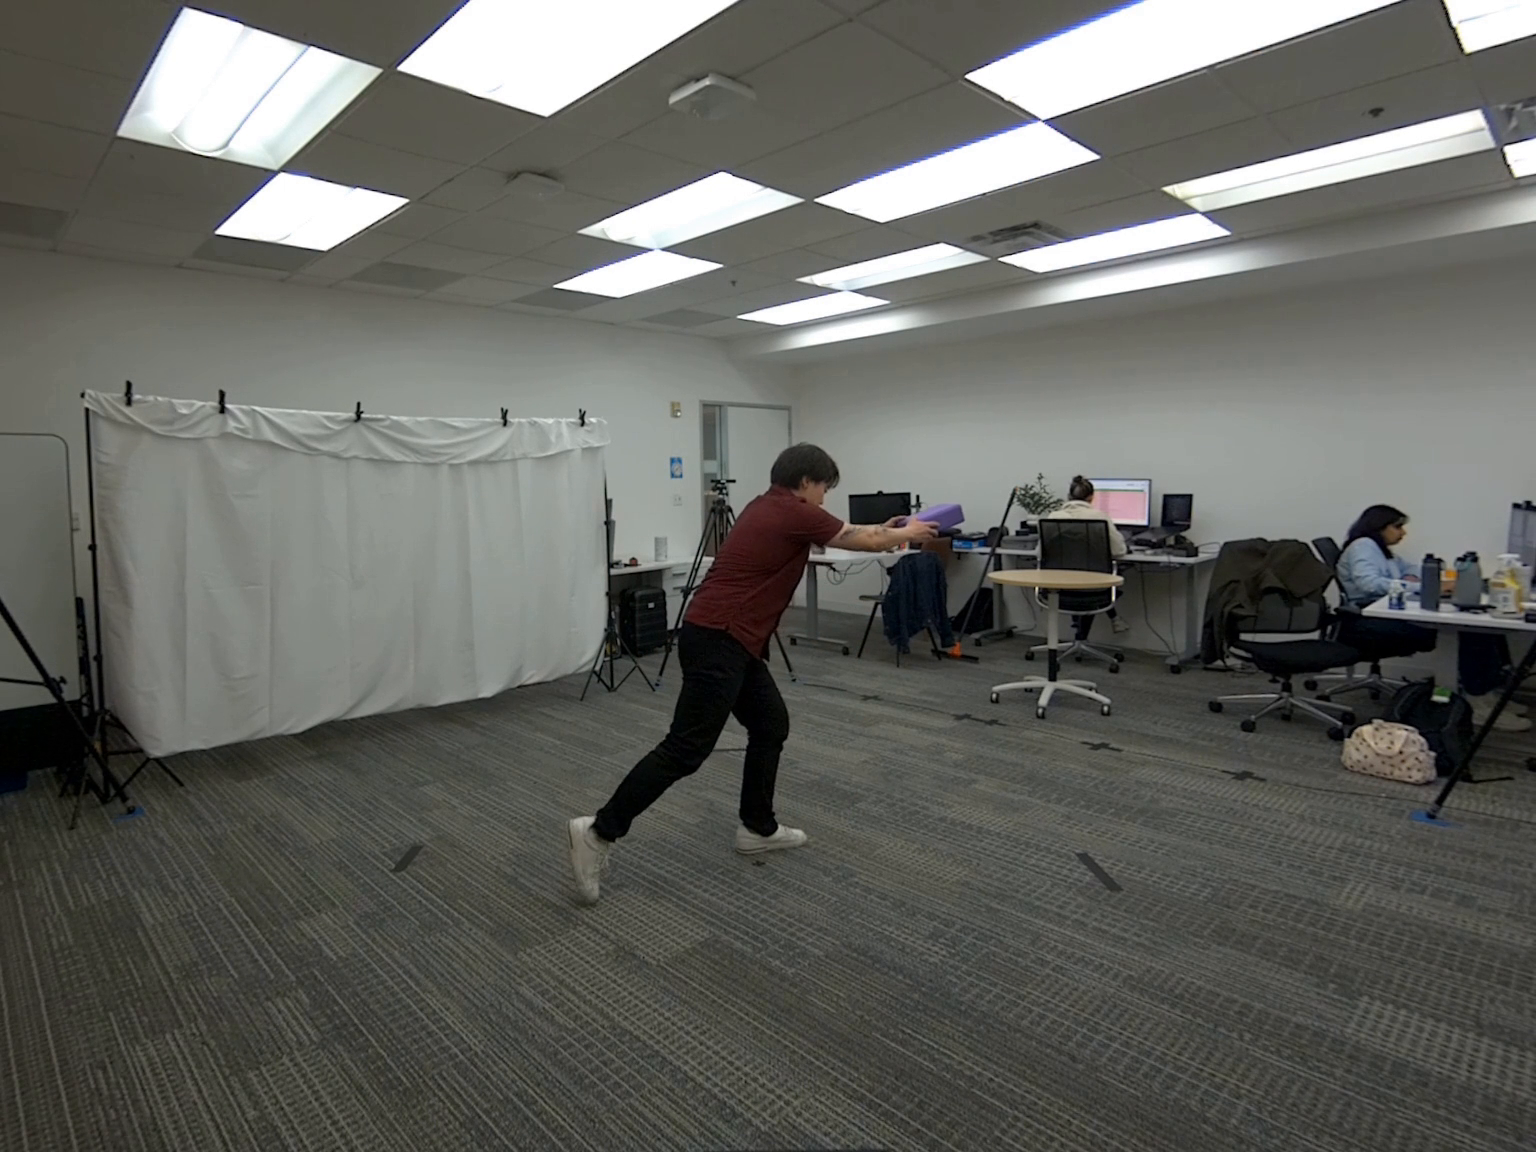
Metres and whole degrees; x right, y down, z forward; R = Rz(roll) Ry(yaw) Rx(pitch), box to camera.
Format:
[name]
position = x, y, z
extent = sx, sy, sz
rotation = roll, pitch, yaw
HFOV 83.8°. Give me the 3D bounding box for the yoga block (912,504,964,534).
[yoga block]
position = 0.650, -0.215, 3.428
extent = 0.227, 0.075, 0.152
rotation = -21, 10, -13
